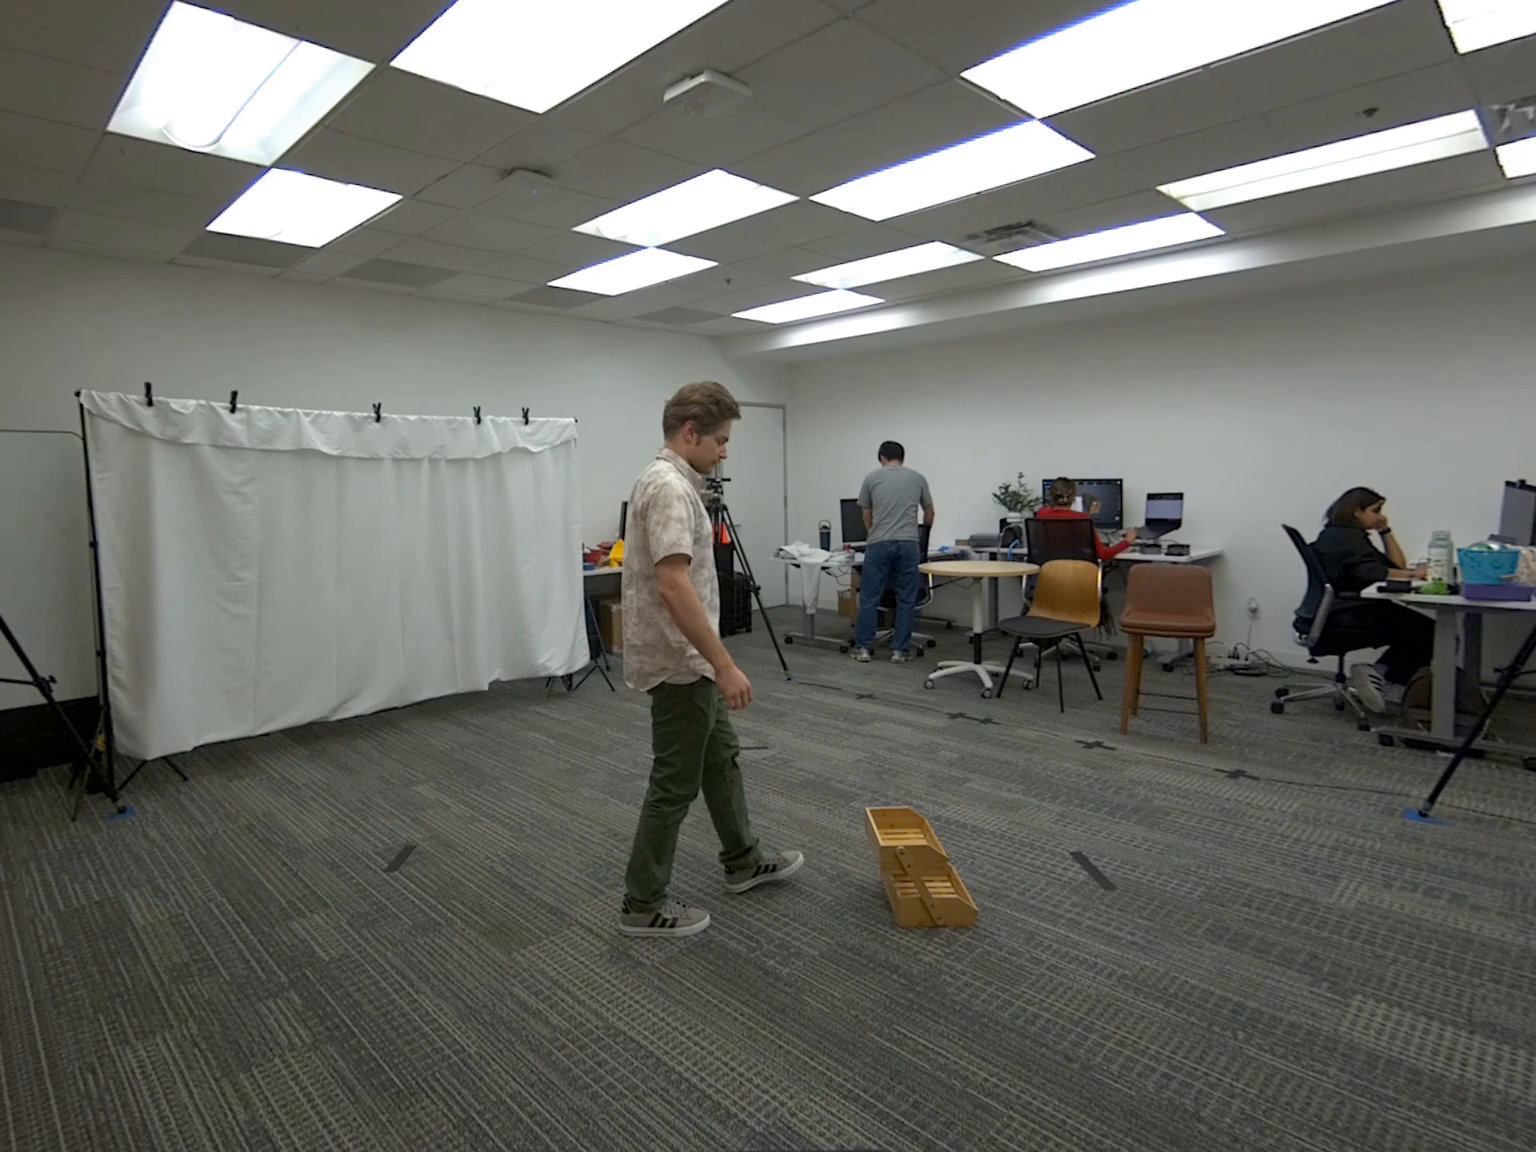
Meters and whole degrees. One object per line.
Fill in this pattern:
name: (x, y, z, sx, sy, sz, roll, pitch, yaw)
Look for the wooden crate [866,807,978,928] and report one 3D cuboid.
wooden crate: (0.504, 0.935, 2.785, 0.302, 0.272, 0.326, -1, 5, -1)
